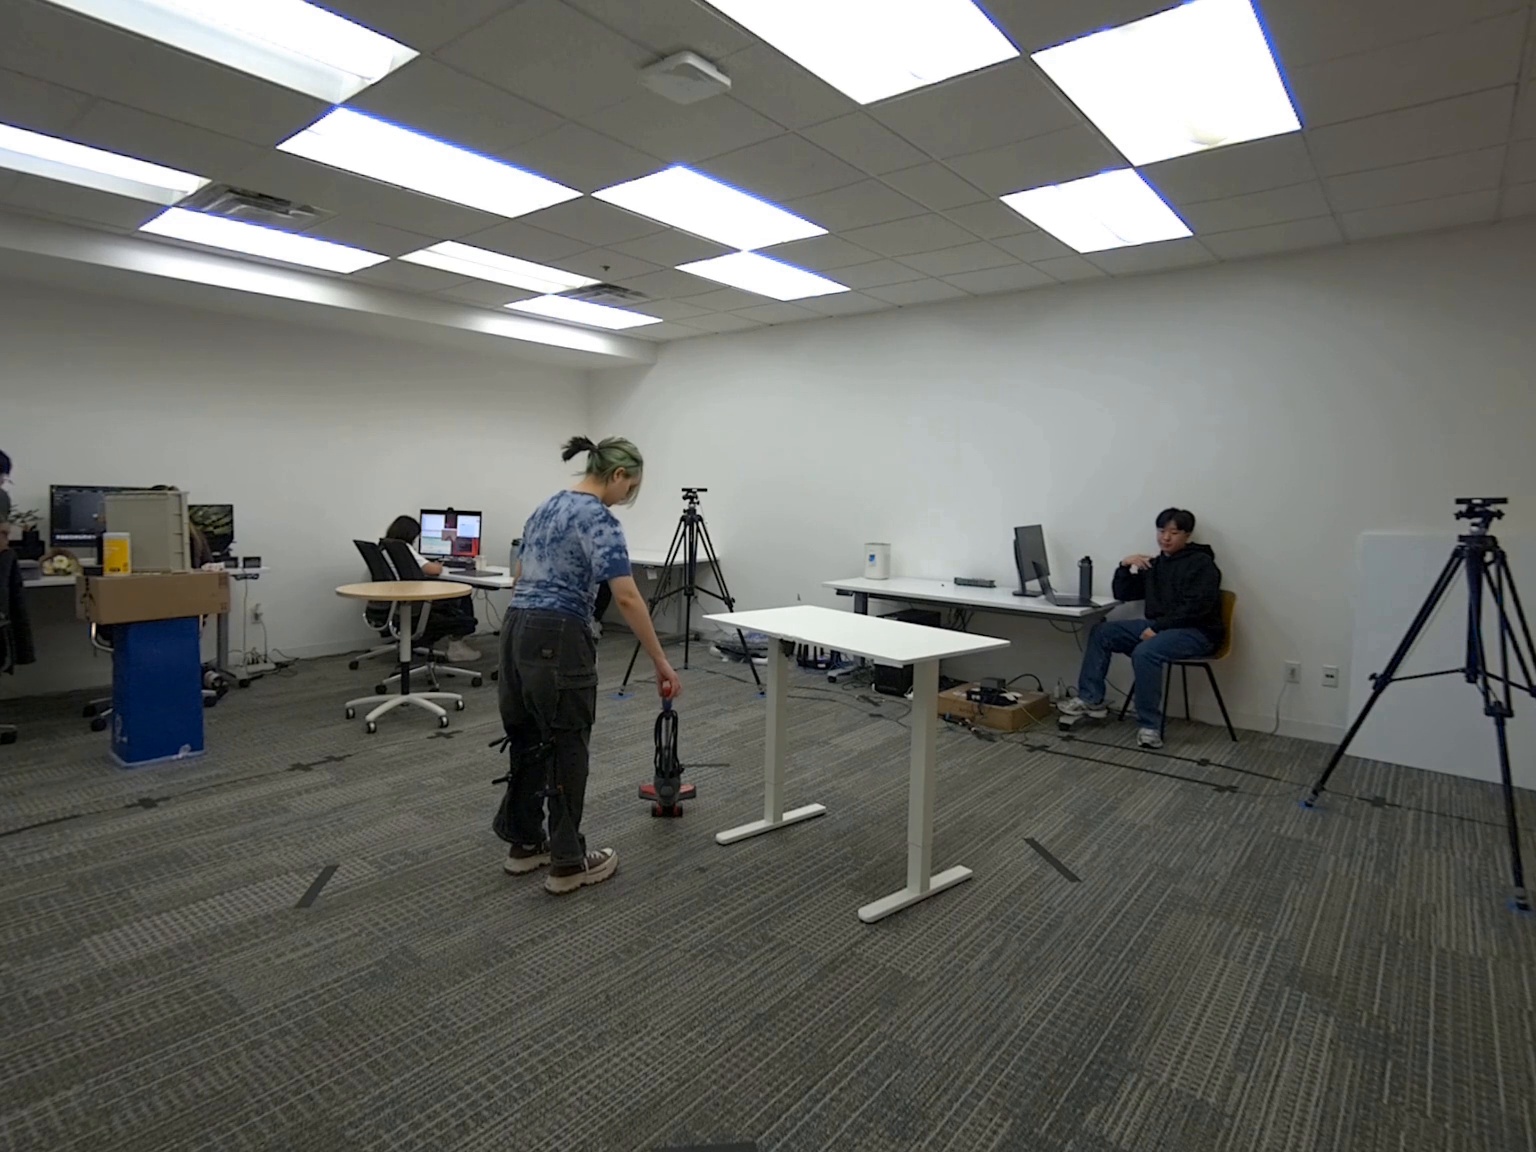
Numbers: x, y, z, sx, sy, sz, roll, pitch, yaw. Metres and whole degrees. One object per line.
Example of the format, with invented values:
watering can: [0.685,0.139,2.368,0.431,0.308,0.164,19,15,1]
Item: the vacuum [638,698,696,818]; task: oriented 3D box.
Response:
vacuum: [-0.402,0.690,3.256,0.252,0.148,1.024,2,-34,-4]
